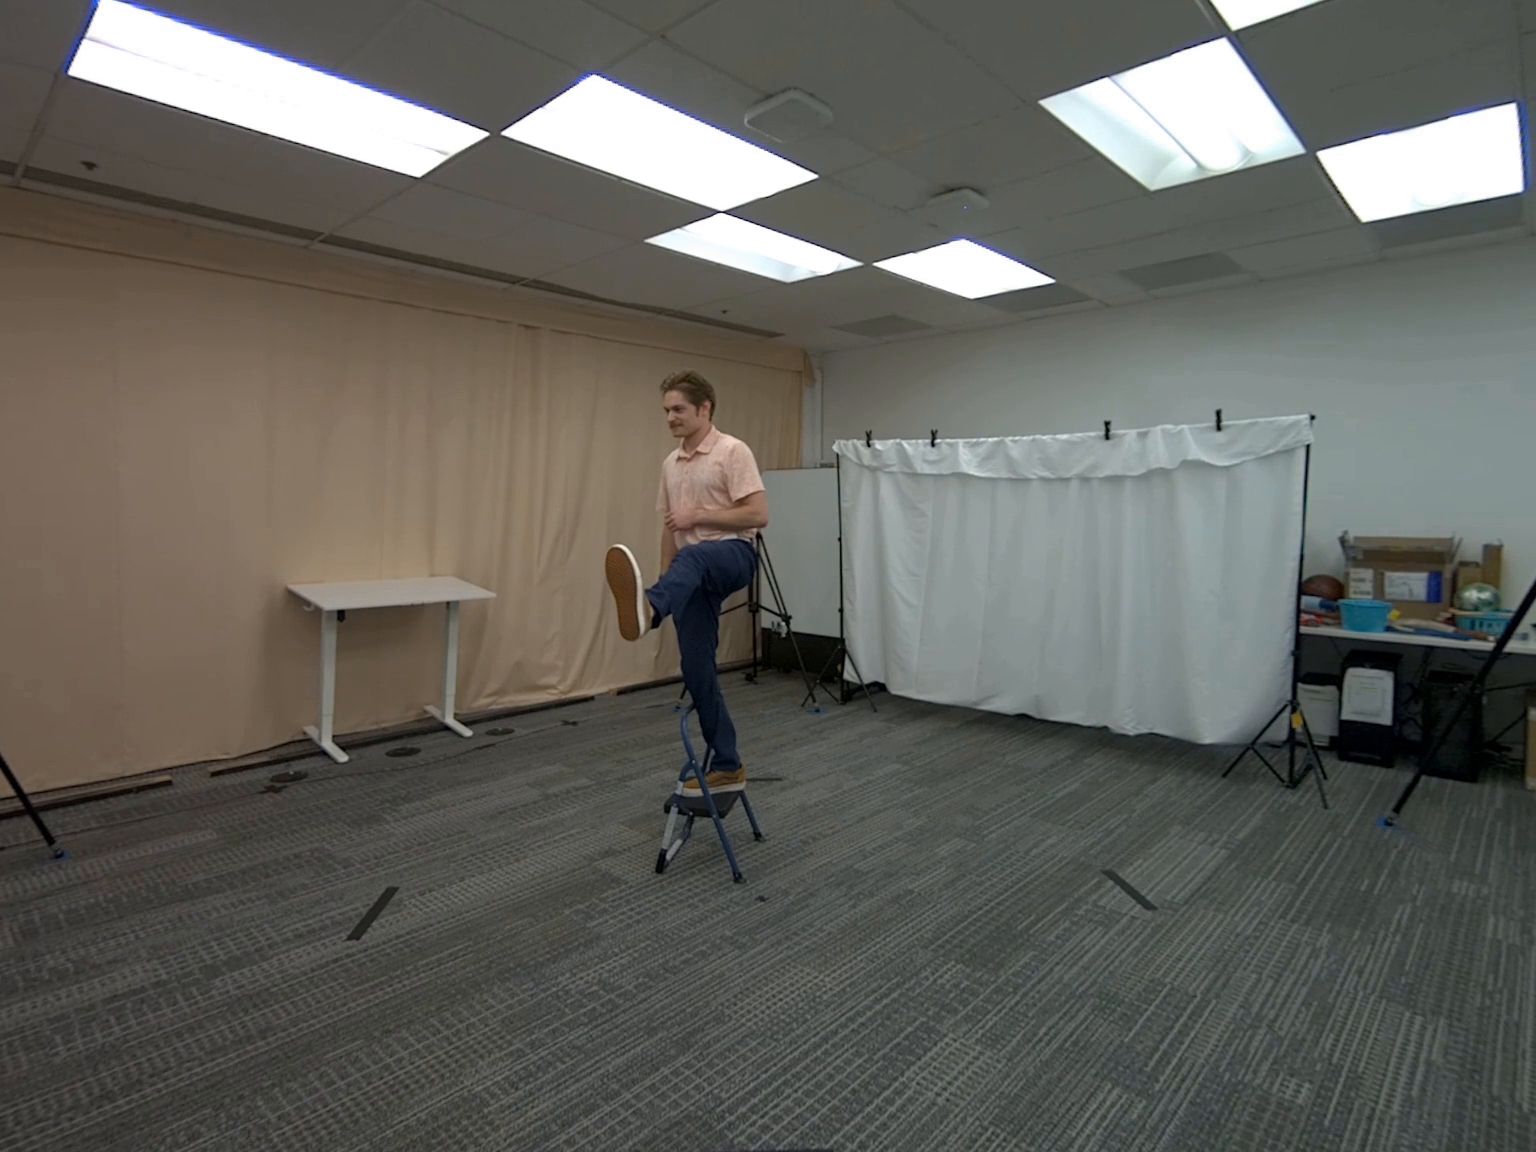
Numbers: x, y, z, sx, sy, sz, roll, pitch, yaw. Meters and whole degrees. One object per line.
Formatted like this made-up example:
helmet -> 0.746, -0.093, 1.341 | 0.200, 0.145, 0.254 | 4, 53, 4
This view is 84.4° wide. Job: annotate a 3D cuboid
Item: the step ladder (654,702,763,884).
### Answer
step ladder -> -0.225, 0.816, 3.339 | 0.354, 0.605, 0.426 | 0, 3, 11
